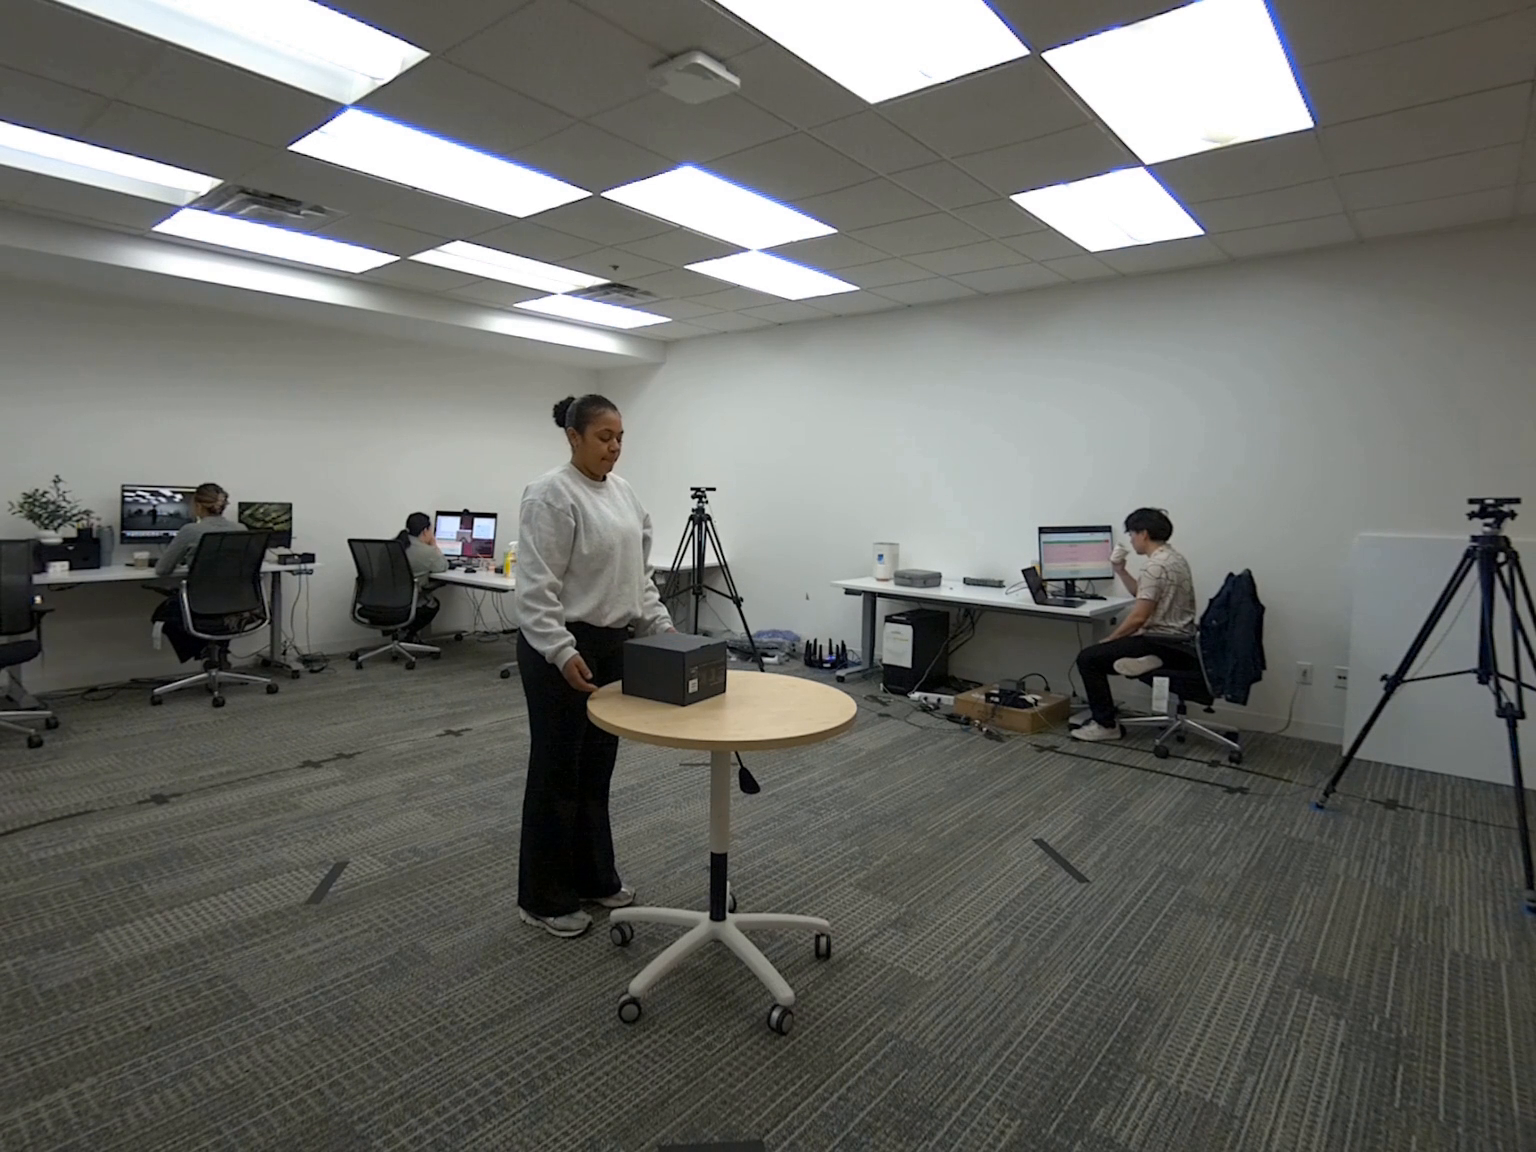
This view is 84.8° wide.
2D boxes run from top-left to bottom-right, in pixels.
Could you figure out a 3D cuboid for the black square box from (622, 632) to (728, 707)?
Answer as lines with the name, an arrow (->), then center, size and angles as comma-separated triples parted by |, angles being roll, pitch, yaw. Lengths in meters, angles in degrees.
black square box -> -0.278, 0.266, 2.495 | 0.235, 0.155, 0.211 | 5, 6, 33
